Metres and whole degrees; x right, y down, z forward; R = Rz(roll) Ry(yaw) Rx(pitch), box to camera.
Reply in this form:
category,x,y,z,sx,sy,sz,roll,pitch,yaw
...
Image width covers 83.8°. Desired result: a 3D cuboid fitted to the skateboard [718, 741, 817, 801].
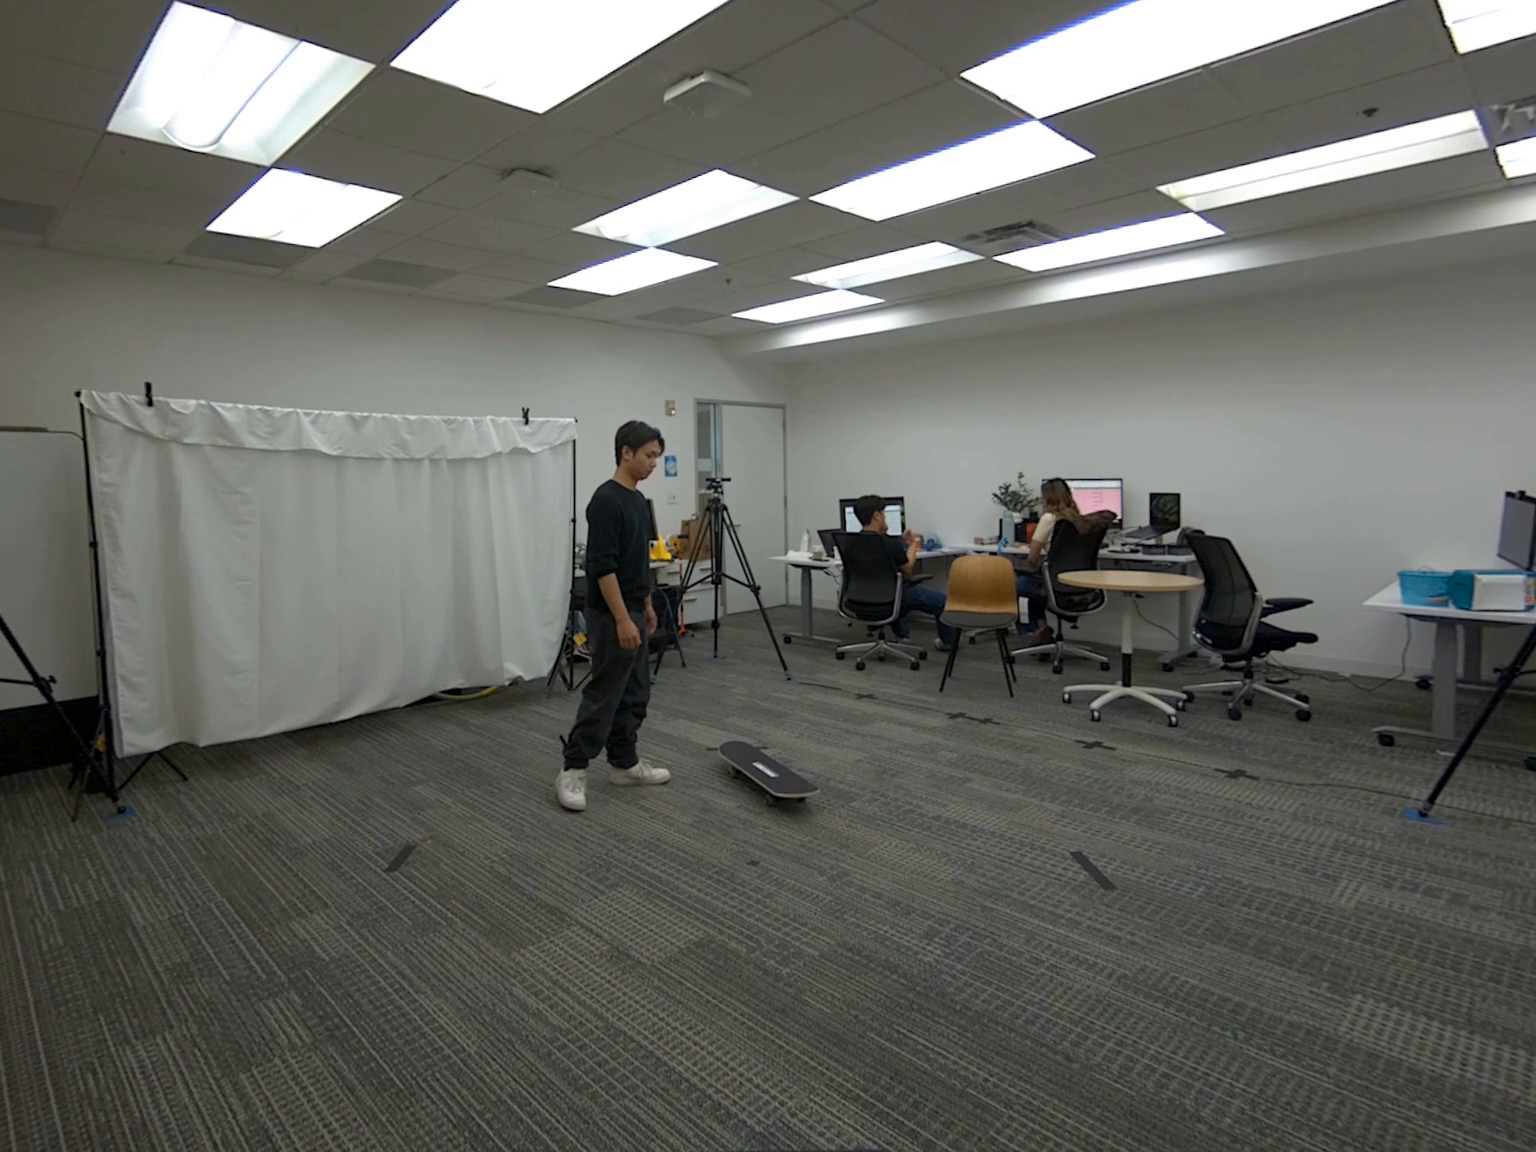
category,x,y,z,sx,sy,sz,roll,pitch,yaw
skateboard,-0.005,0.902,3.842,0.189,0.110,0.804,-4,6,-24
